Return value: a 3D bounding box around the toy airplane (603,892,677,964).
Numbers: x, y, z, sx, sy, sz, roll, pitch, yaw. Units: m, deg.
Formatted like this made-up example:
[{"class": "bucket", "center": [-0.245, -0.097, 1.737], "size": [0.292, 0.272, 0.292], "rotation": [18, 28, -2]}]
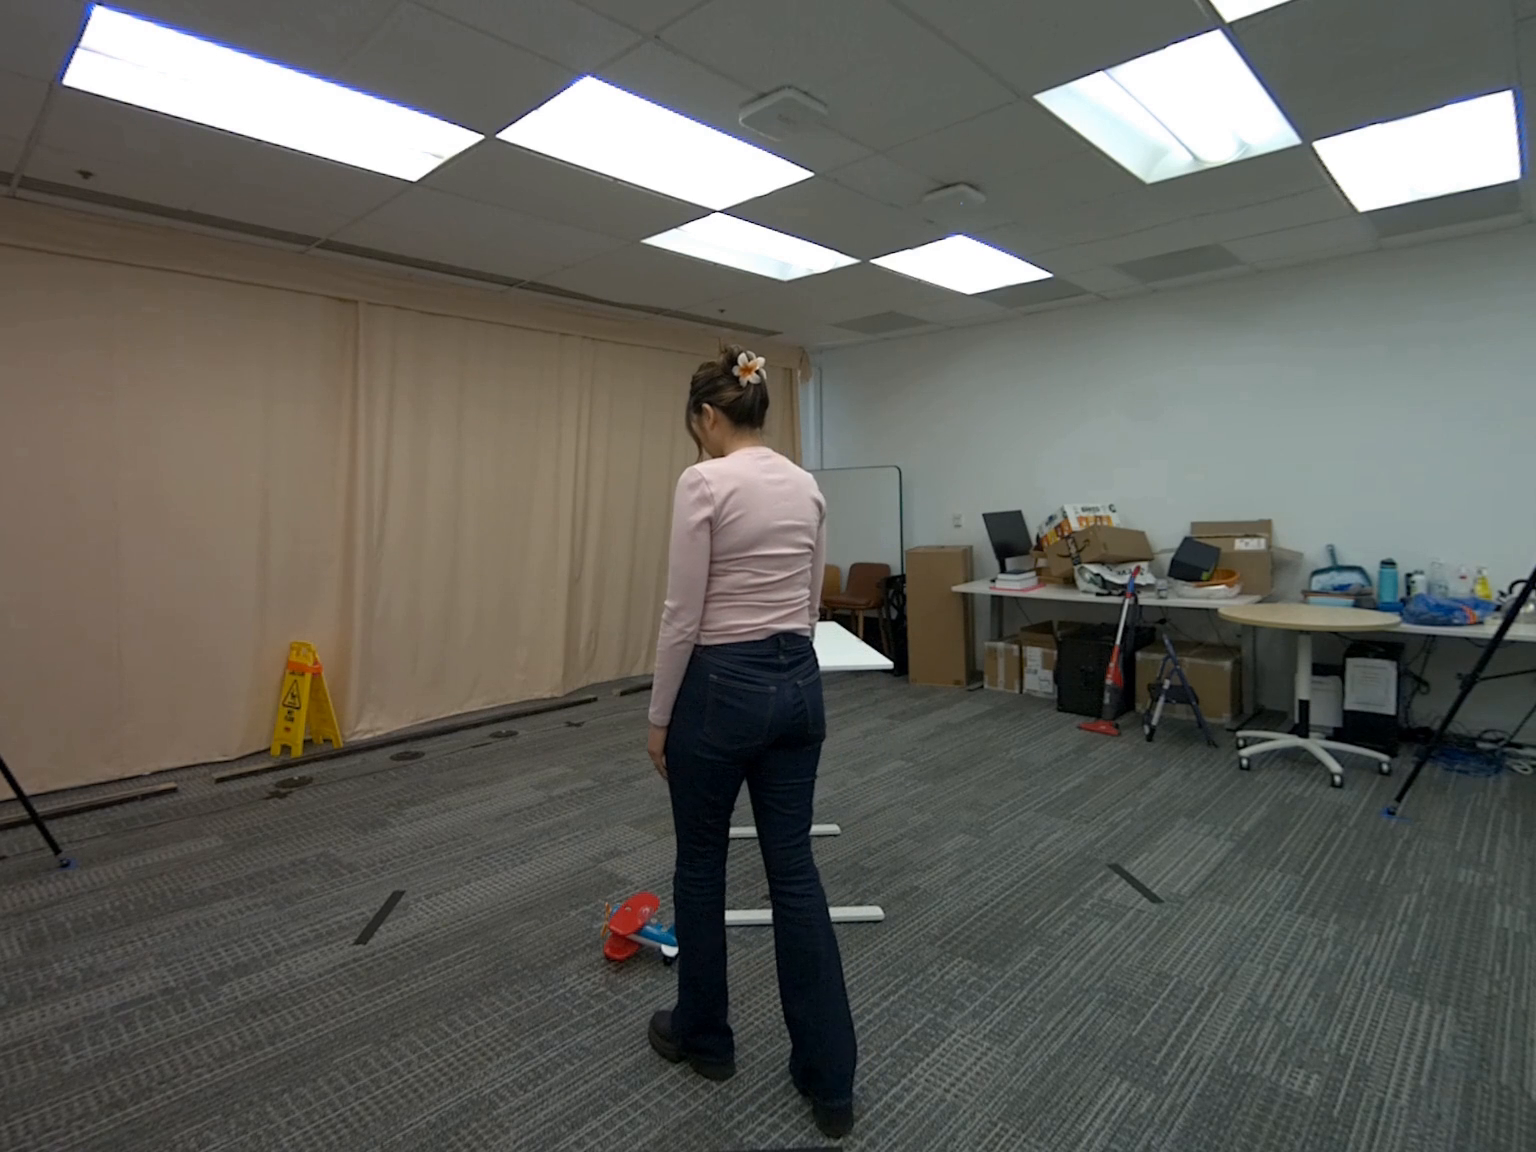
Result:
[{"class": "toy airplane", "center": [-0.380, 1.104, 2.616], "size": [0.256, 0.156, 0.254], "rotation": [-3, 4, -11]}]
